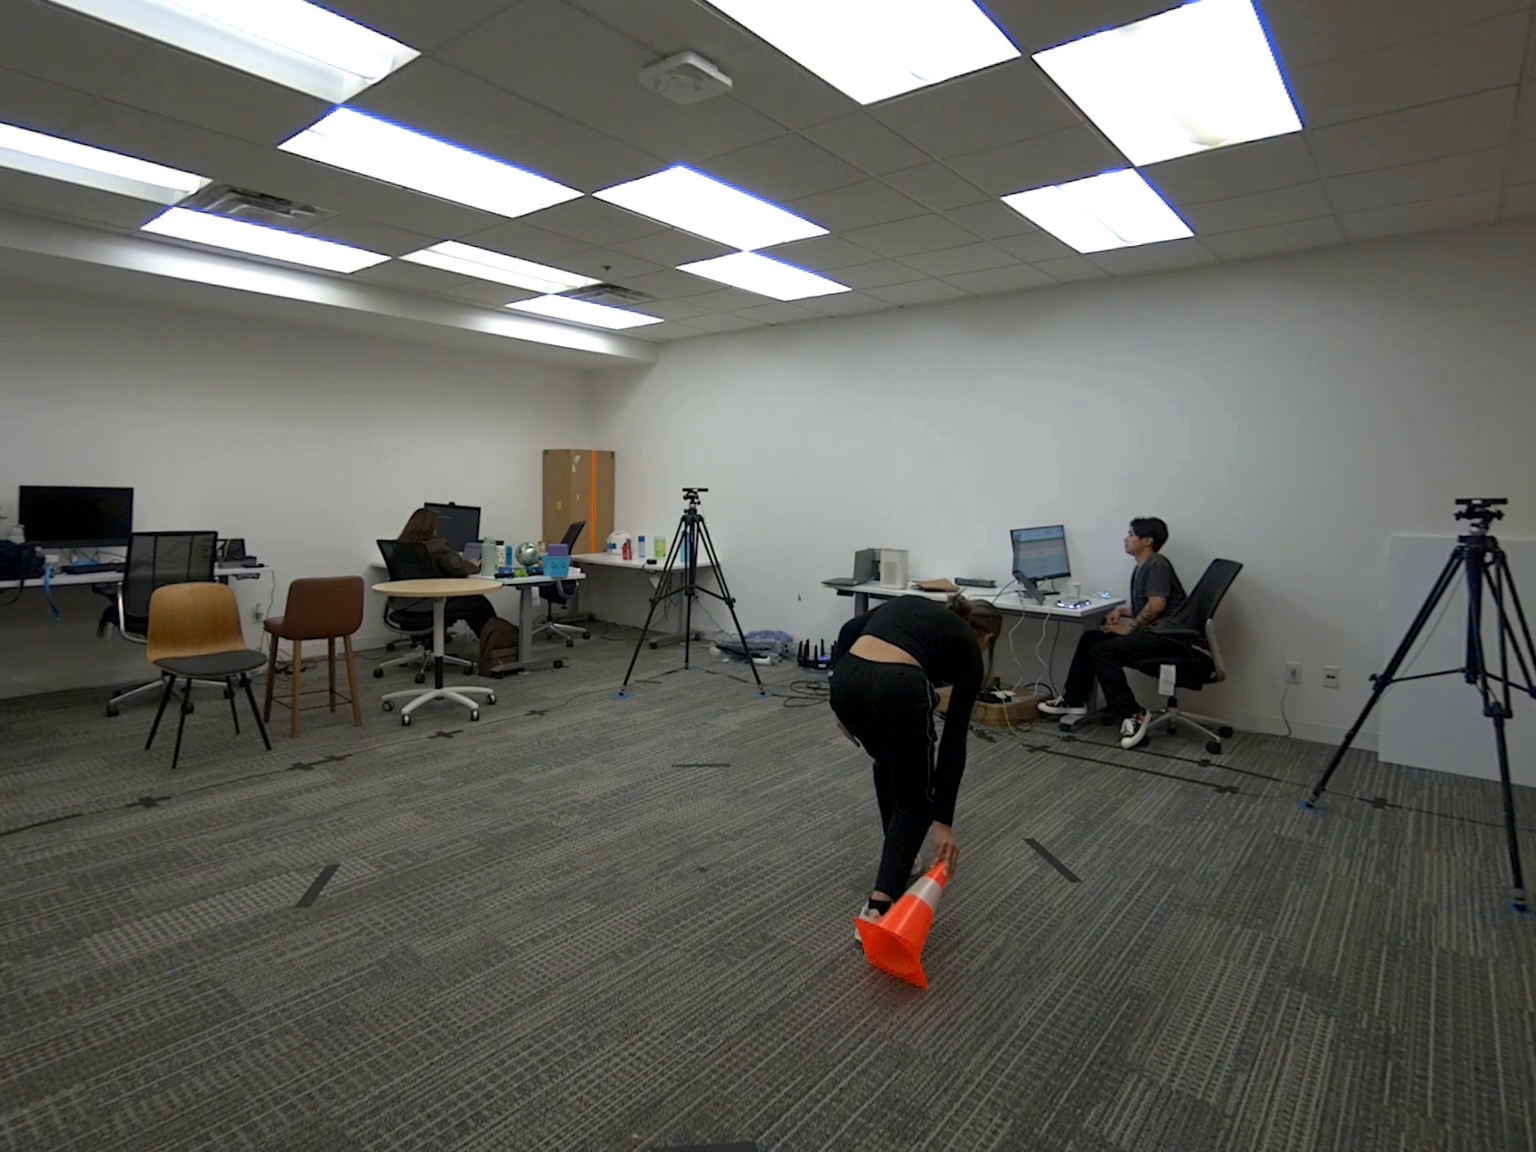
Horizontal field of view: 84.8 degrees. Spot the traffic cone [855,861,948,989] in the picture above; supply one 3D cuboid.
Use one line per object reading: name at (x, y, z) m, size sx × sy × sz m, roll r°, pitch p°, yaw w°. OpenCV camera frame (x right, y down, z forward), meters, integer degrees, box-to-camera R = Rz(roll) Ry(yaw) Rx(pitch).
traffic cone at (0.449, 0.969, 2.526) m, size 0.212 × 0.198 × 0.381 m, roll 6°, pitch 34°, yaw 42°
